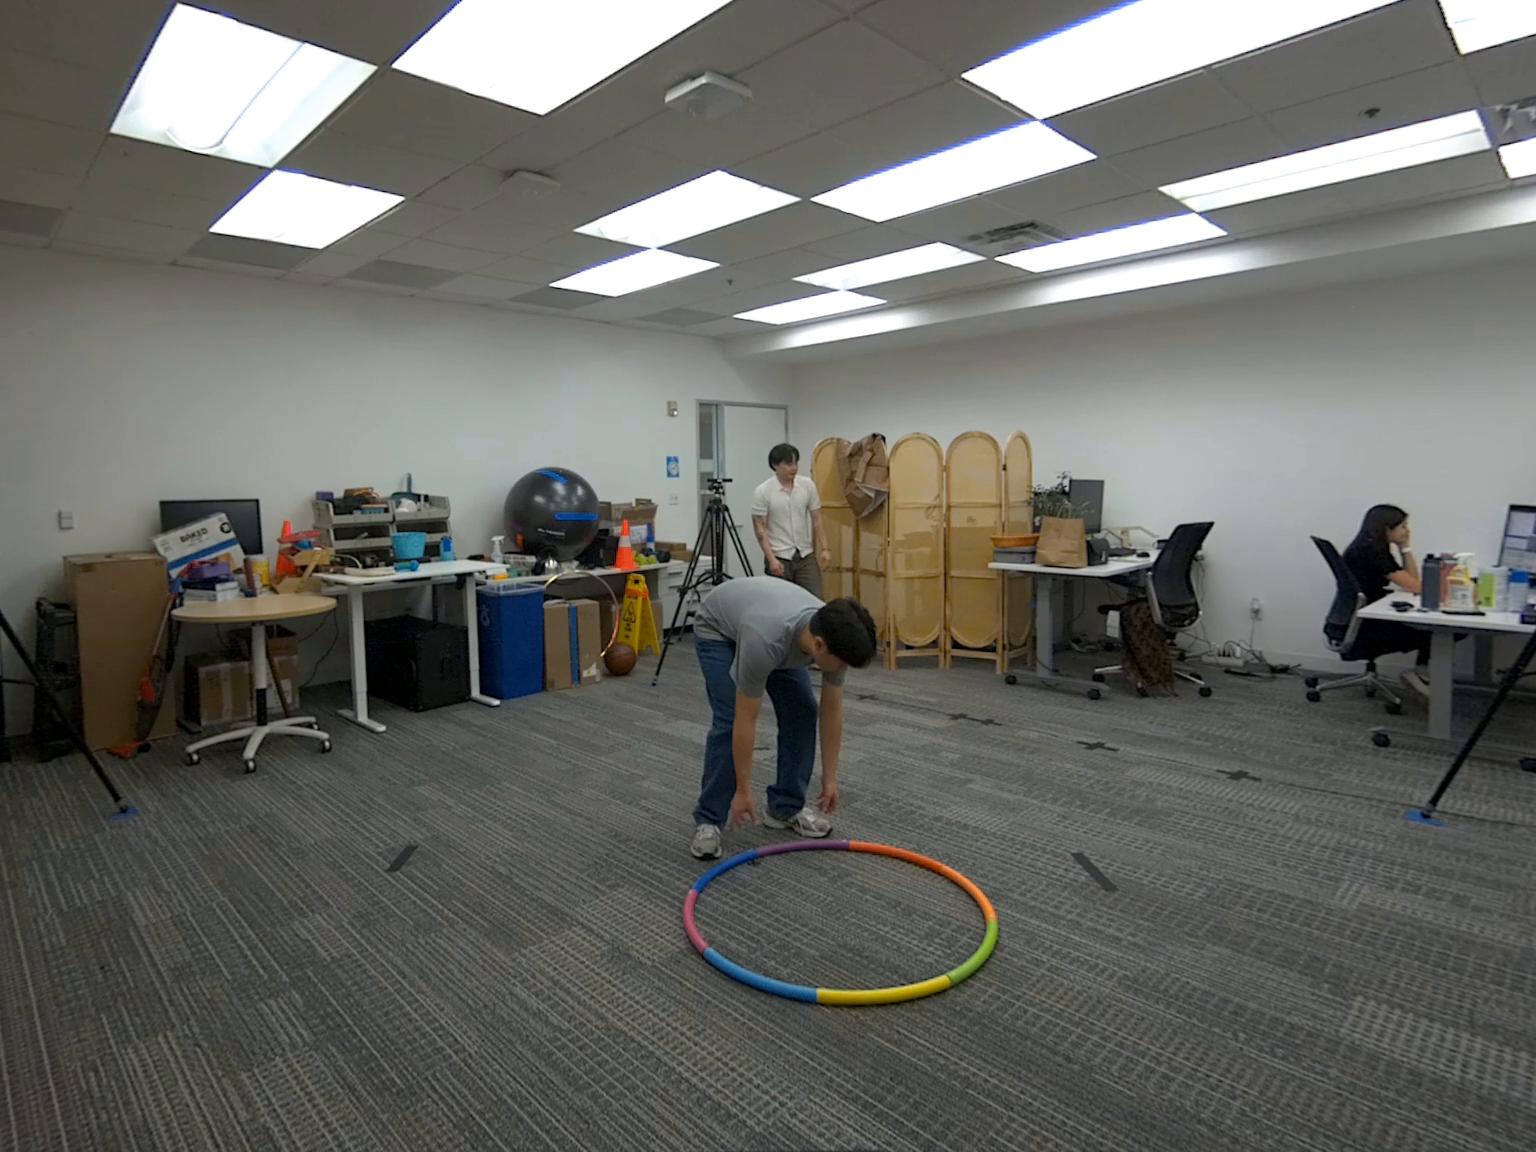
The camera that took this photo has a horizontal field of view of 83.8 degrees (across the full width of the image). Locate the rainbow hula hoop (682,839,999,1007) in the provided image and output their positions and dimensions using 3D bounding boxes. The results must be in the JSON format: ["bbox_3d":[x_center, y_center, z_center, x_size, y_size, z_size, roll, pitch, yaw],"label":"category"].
[{"bbox_3d":[0.216,1.057,2.740,0.978,0.035,0.984,-1,7,-2],"label":"rainbow hula hoop"}]
